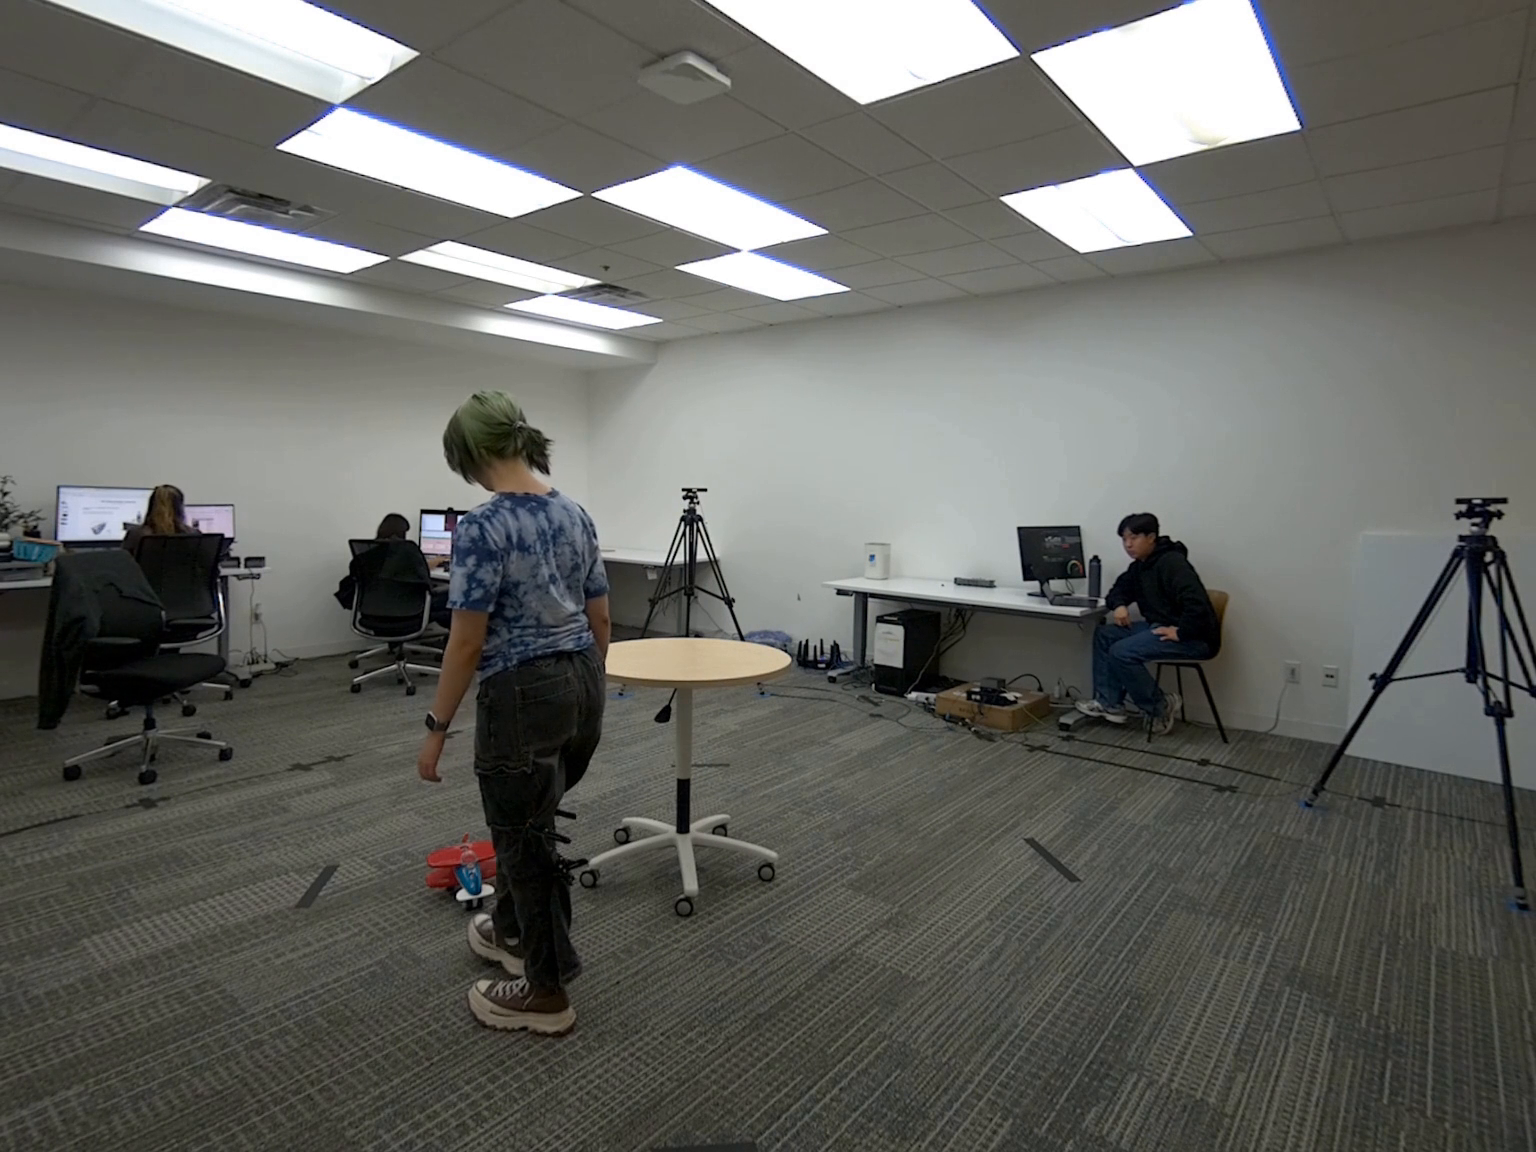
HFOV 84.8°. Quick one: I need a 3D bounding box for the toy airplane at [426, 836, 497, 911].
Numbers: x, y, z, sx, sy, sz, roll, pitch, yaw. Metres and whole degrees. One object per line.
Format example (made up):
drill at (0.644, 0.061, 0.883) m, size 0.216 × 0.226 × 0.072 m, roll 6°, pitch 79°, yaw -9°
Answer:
toy airplane at (-1.012, 1.005, 2.880) m, size 0.267 × 0.156 × 0.245 m, roll 2°, pitch 5°, yaw 30°
